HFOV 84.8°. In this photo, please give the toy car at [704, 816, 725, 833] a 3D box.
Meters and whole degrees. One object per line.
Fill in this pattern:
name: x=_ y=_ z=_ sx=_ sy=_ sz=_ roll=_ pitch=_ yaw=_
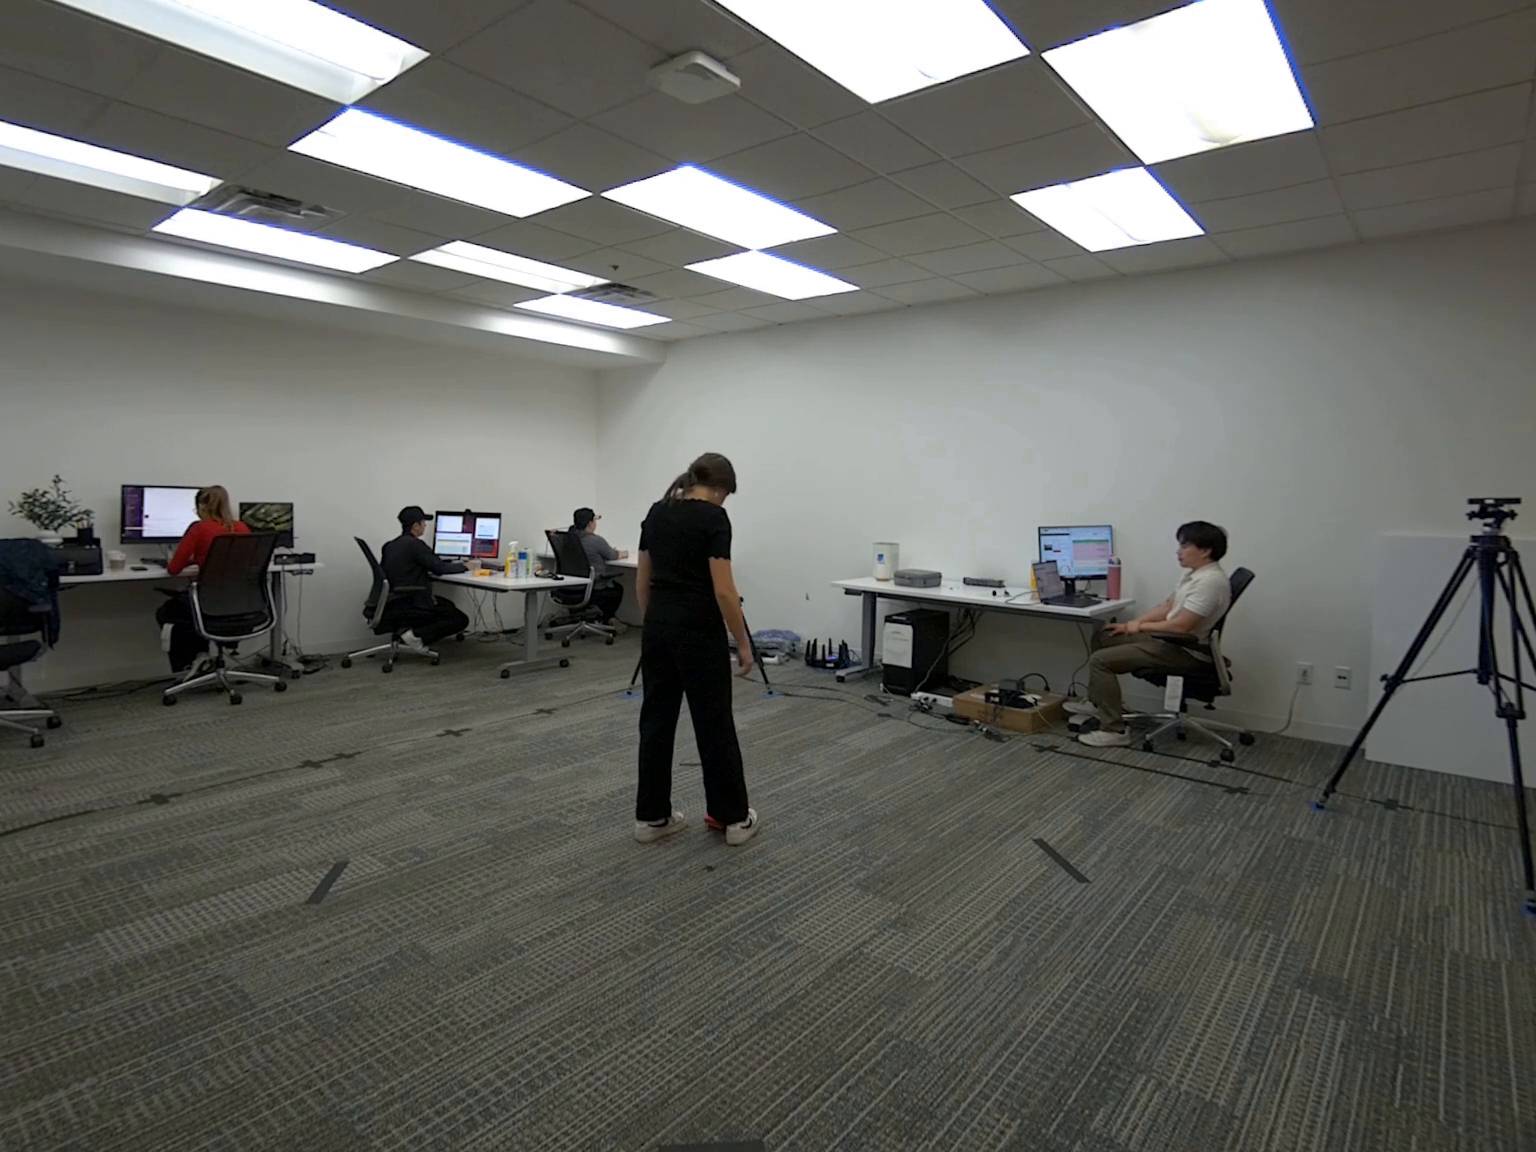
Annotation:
toy car: x=-0.176 y=0.992 z=3.519 sx=0.134 sy=0.083 sz=0.246 roll=5 pitch=-4 yaw=30
